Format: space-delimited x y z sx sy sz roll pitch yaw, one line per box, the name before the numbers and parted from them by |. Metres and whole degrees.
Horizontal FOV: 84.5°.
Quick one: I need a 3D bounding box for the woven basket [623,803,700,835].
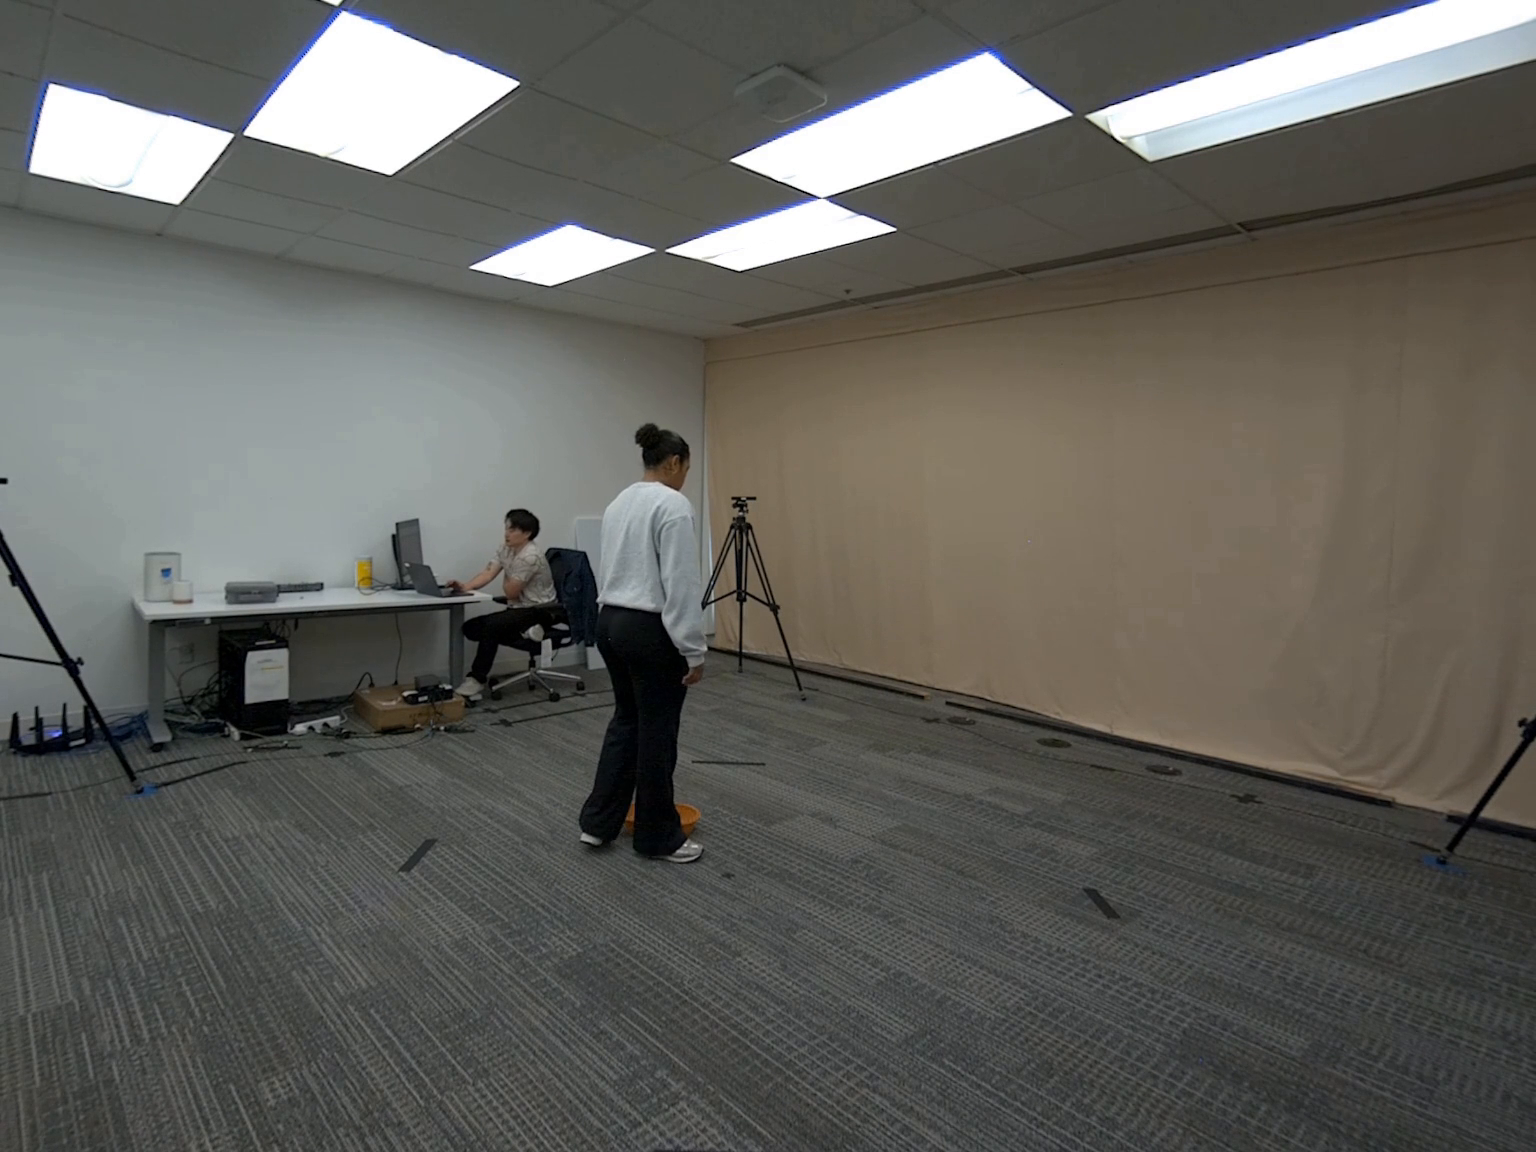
woven basket | -0.444 1.022 3.534 0.355 0.073 0.250 3 5 15
